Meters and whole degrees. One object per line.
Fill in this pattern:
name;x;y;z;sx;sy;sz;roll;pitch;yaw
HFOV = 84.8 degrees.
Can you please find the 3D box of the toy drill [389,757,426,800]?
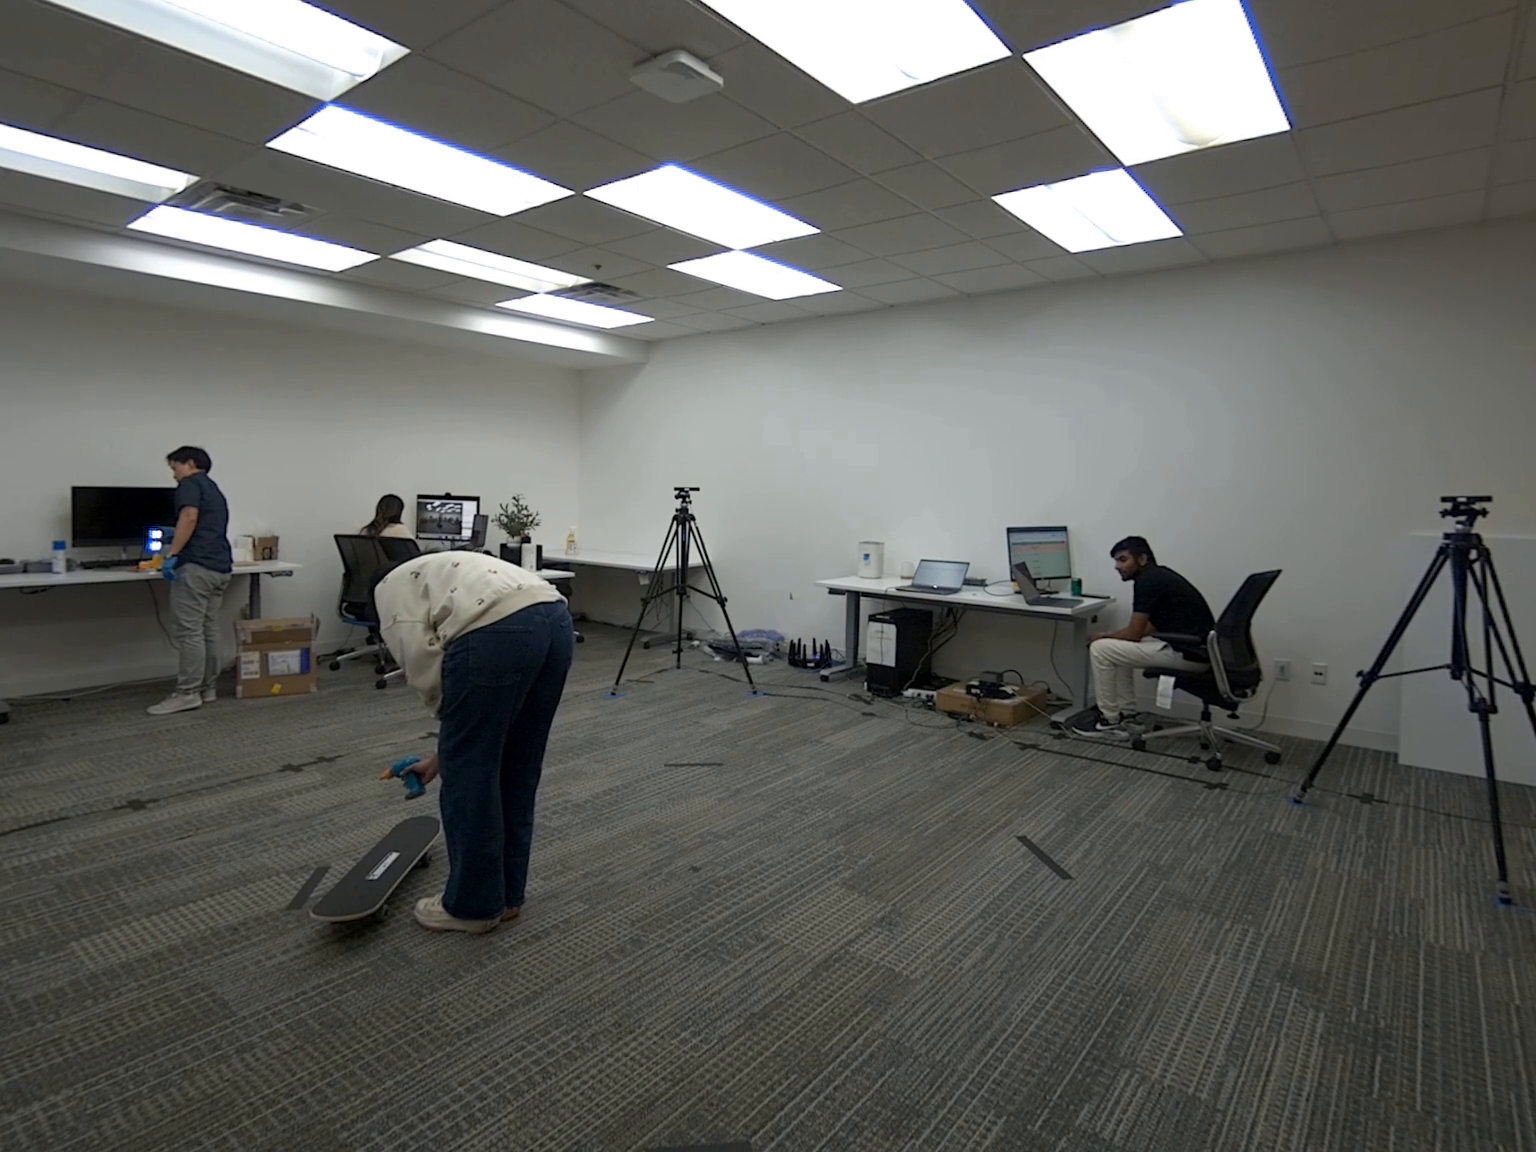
toy drill;-1.300;0.713;2.980;0.170;0.149;0.060;-25;-18;-1
